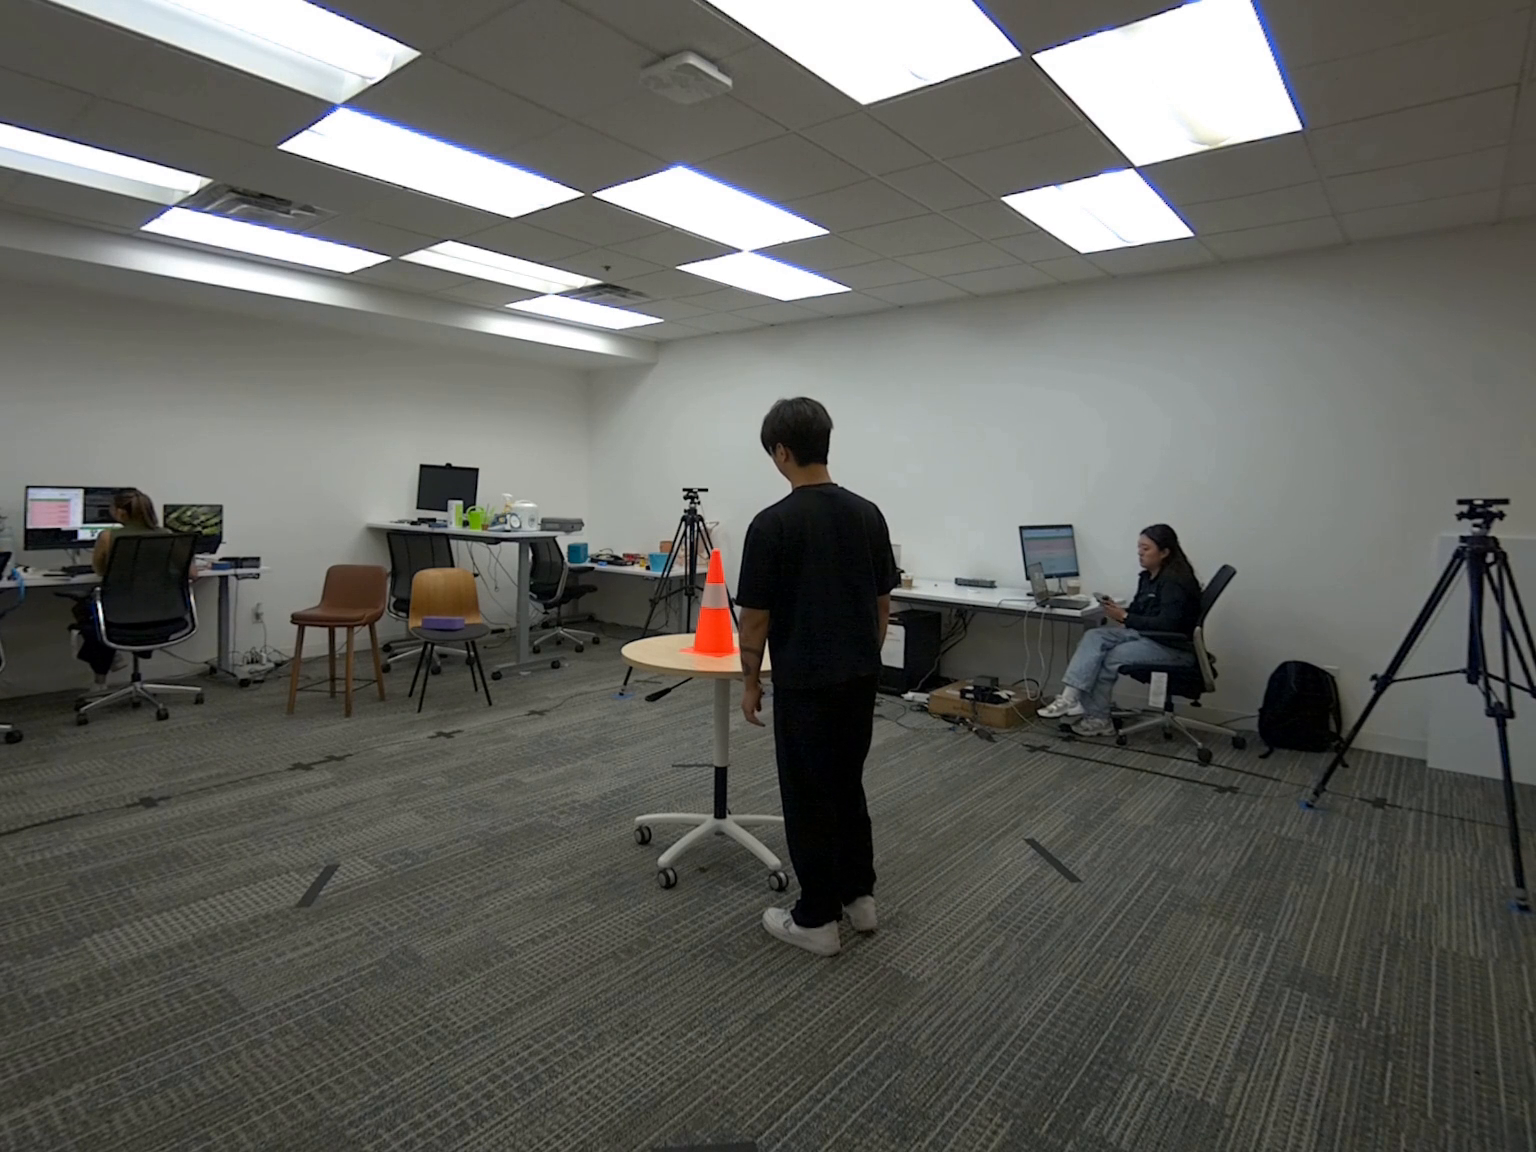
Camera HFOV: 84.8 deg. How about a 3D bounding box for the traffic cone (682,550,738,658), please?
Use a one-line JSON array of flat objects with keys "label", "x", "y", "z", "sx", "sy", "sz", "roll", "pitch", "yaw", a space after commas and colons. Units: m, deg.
[{"label": "traffic cone", "x": -0.210, "y": 0.093, "z": 3.192, "sx": 0.211, "sy": 0.382, "sz": 0.198, "roll": 4, "pitch": 5, "yaw": 28}]
